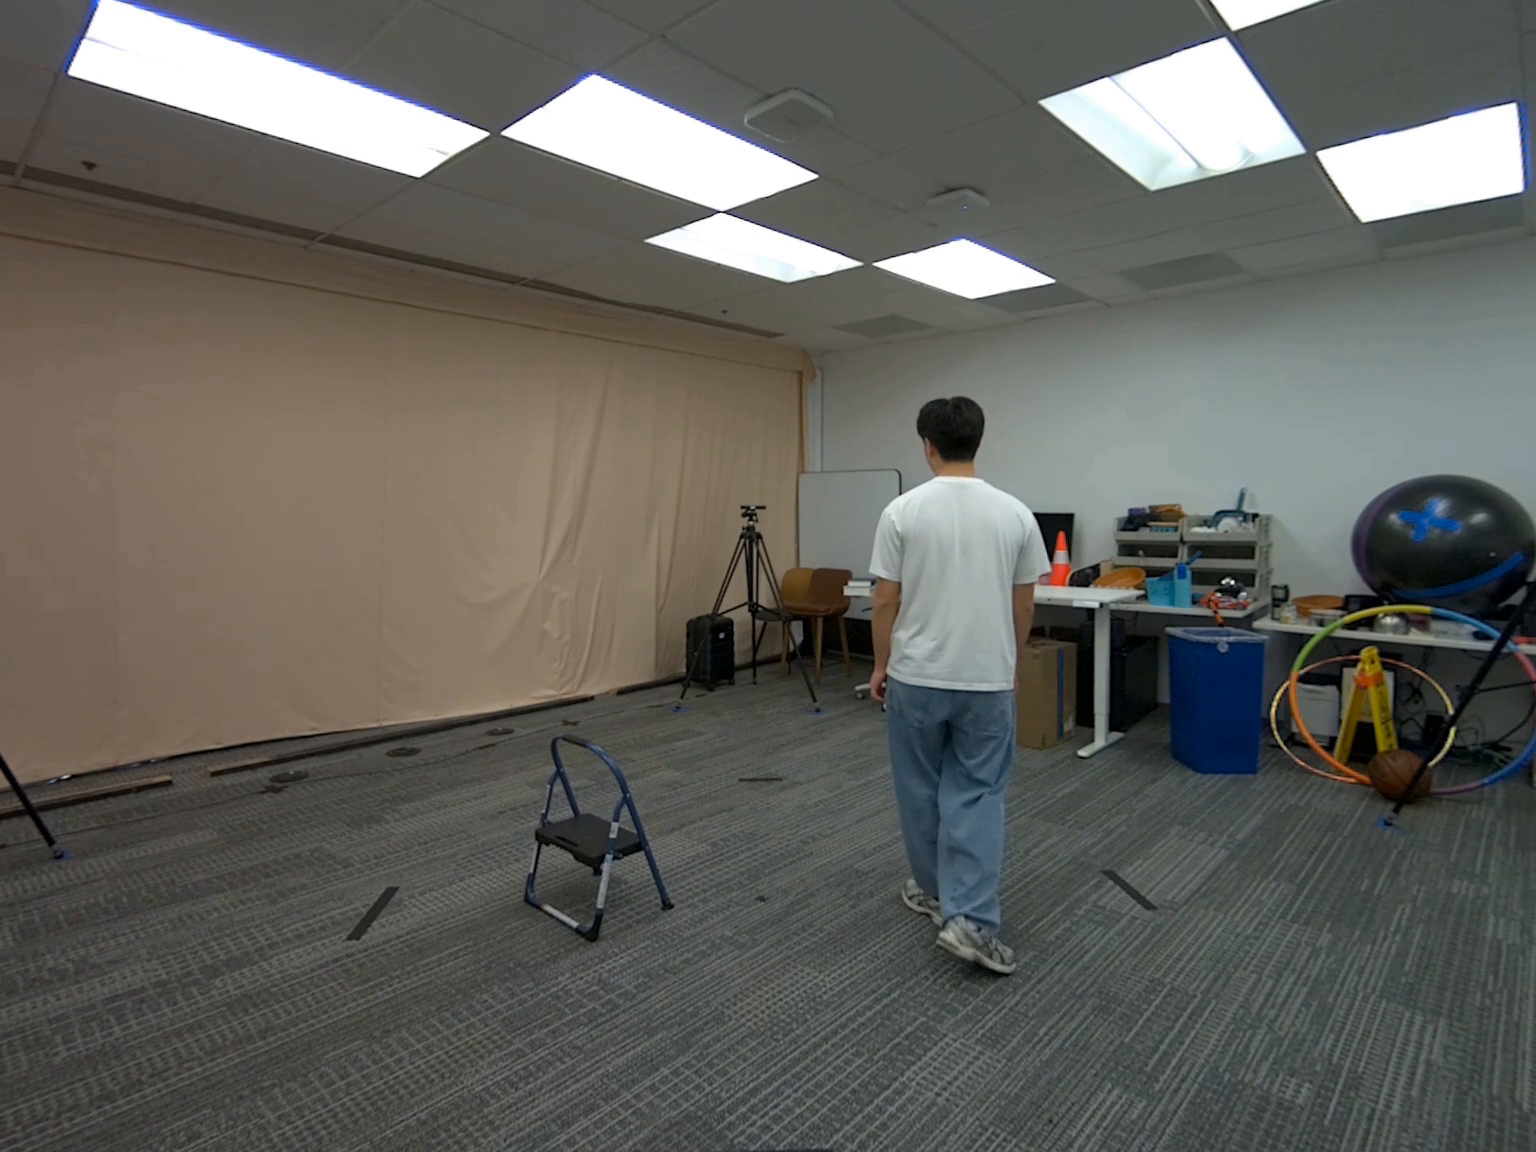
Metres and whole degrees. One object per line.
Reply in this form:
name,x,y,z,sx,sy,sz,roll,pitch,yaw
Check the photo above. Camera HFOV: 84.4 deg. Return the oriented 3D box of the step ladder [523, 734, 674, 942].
step ladder,-0.602,0.848,2.939,0.445,0.605,0.338,2,4,43
